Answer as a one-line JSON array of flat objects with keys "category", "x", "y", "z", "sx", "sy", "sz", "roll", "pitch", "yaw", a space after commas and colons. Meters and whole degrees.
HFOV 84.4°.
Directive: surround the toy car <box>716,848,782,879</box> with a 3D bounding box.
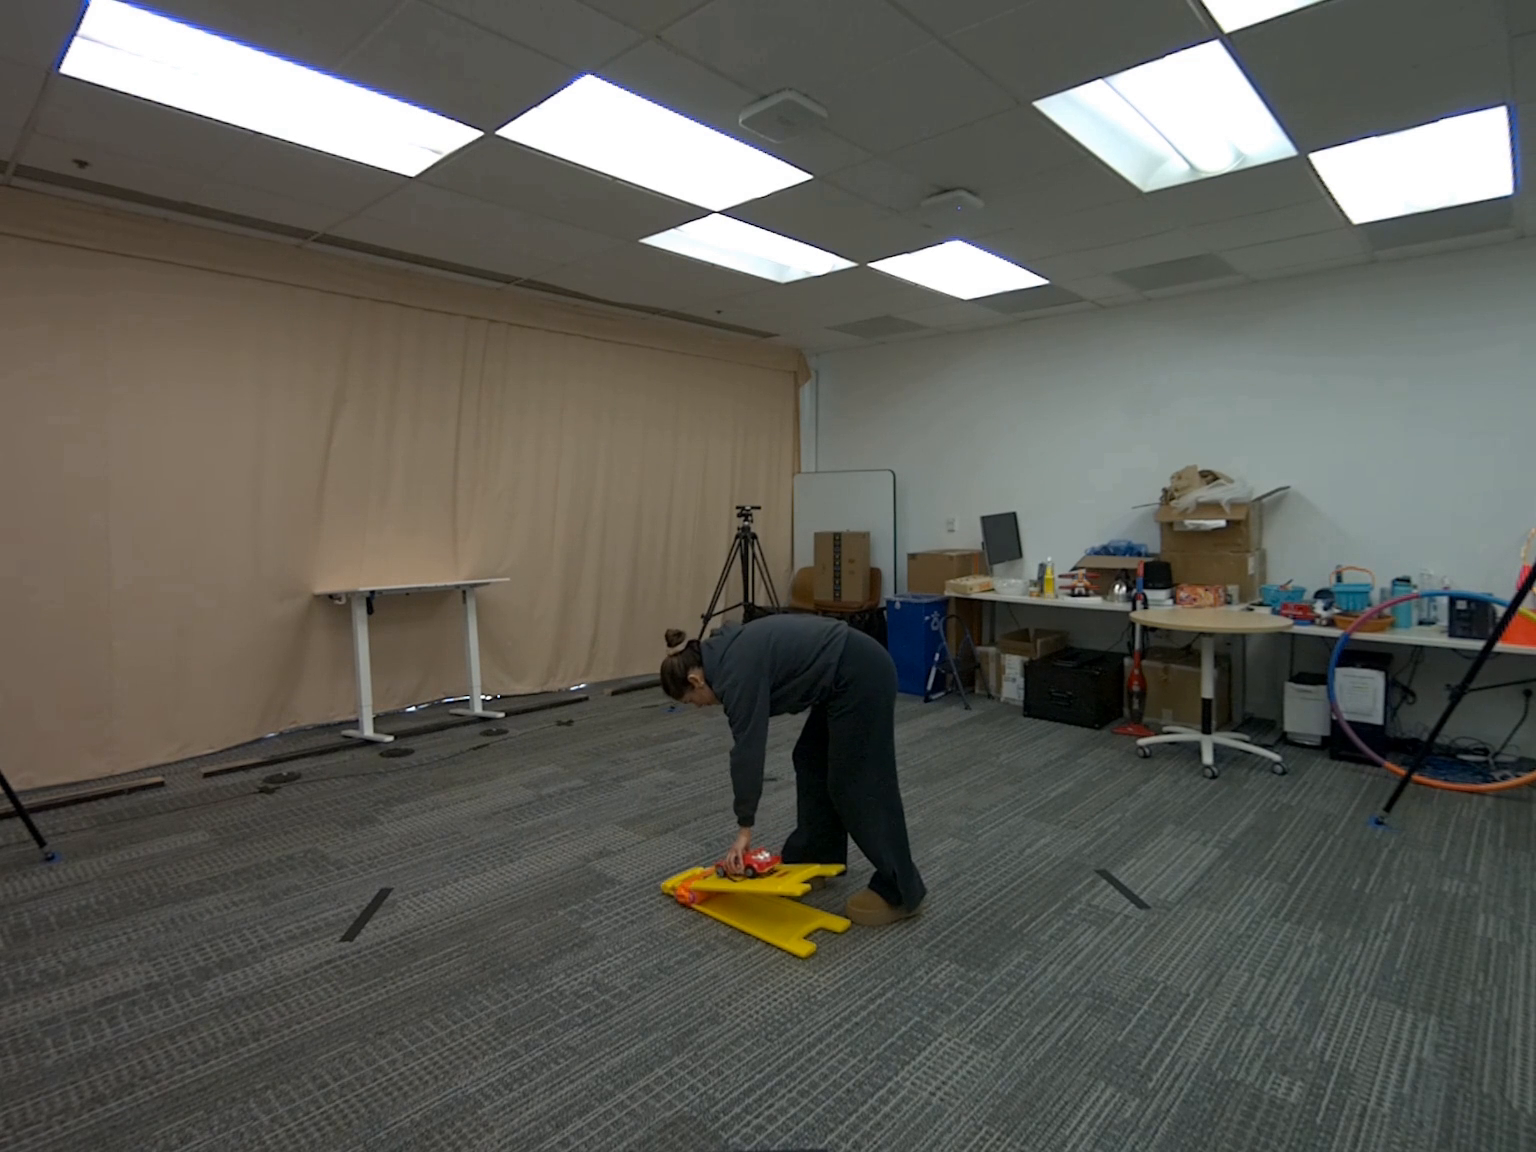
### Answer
[{"category": "toy car", "x": -0.028, "y": 0.996, "z": 2.884, "sx": 0.126, "sy": 0.084, "sz": 0.259, "roll": -7, "pitch": -19, "yaw": -45}]
